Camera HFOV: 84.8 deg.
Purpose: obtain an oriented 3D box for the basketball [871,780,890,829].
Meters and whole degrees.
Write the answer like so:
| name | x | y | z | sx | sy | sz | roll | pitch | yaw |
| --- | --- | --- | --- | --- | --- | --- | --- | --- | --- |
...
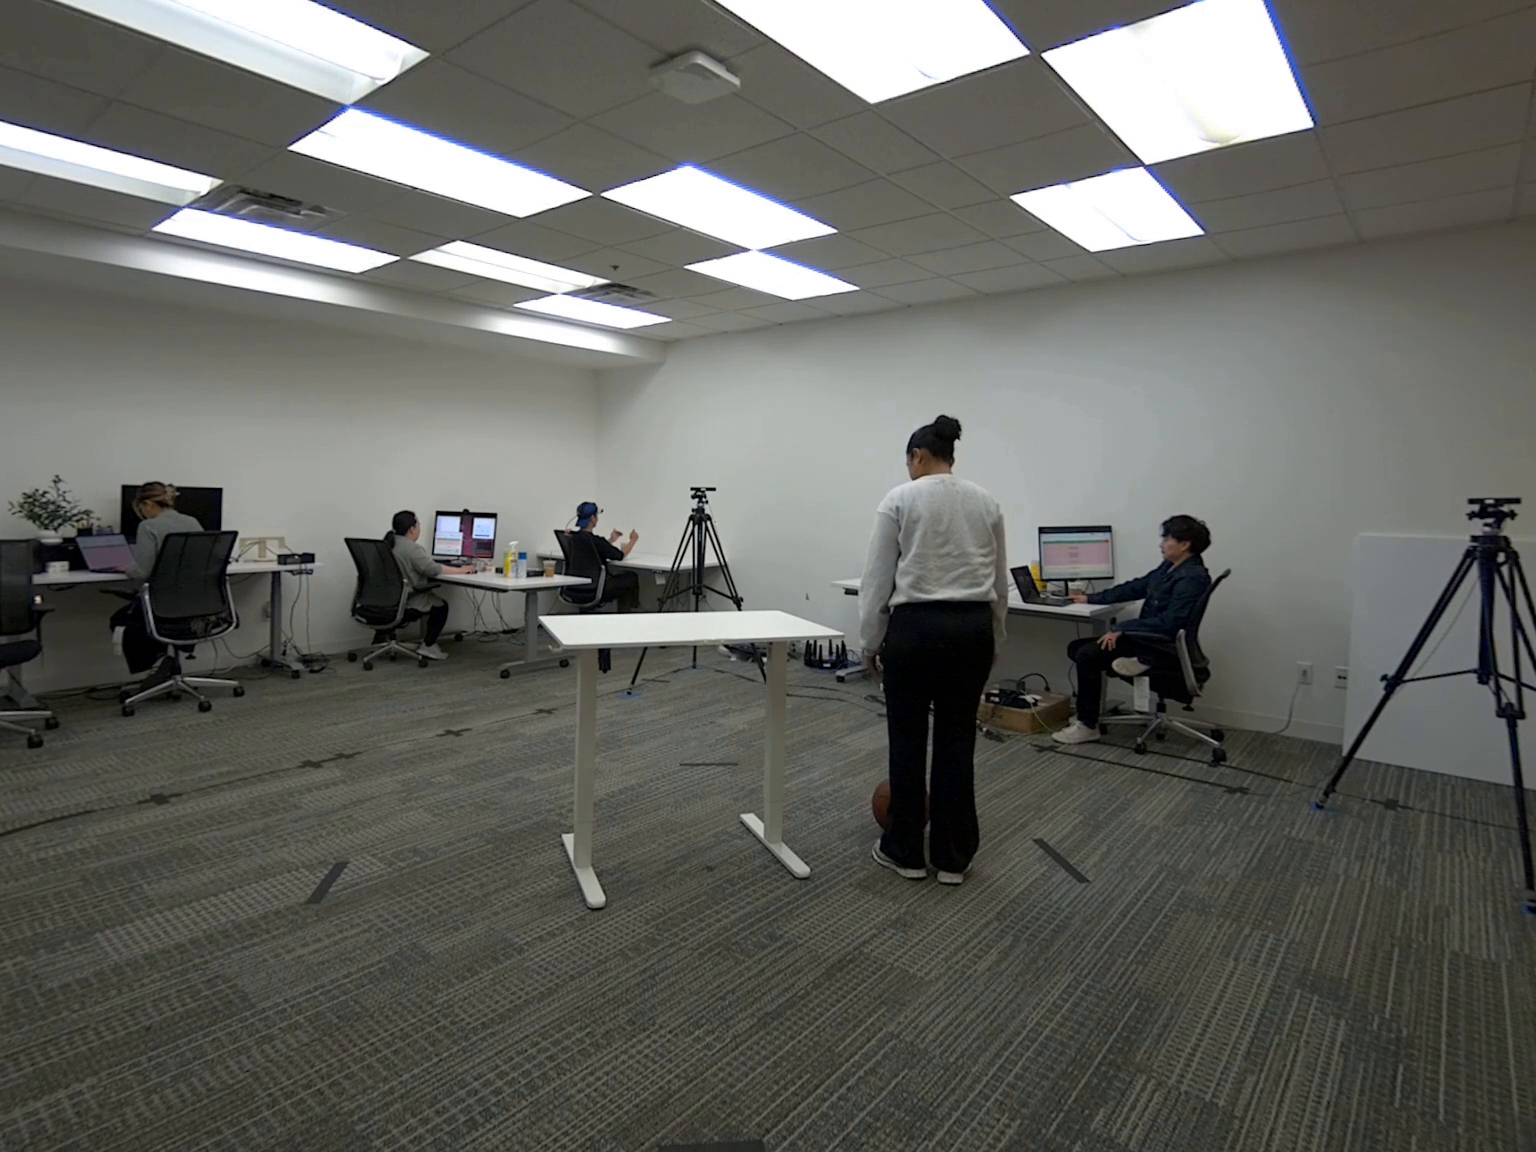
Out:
| name | x | y | z | sx | sy | sz | roll | pitch | yaw |
| --- | --- | --- | --- | --- | --- | --- | --- | --- | --- |
| basketball | 0.537 | 0.921 | 3.450 | 0.235 | 0.235 | 0.237 | 1 | 4 | -2 |
